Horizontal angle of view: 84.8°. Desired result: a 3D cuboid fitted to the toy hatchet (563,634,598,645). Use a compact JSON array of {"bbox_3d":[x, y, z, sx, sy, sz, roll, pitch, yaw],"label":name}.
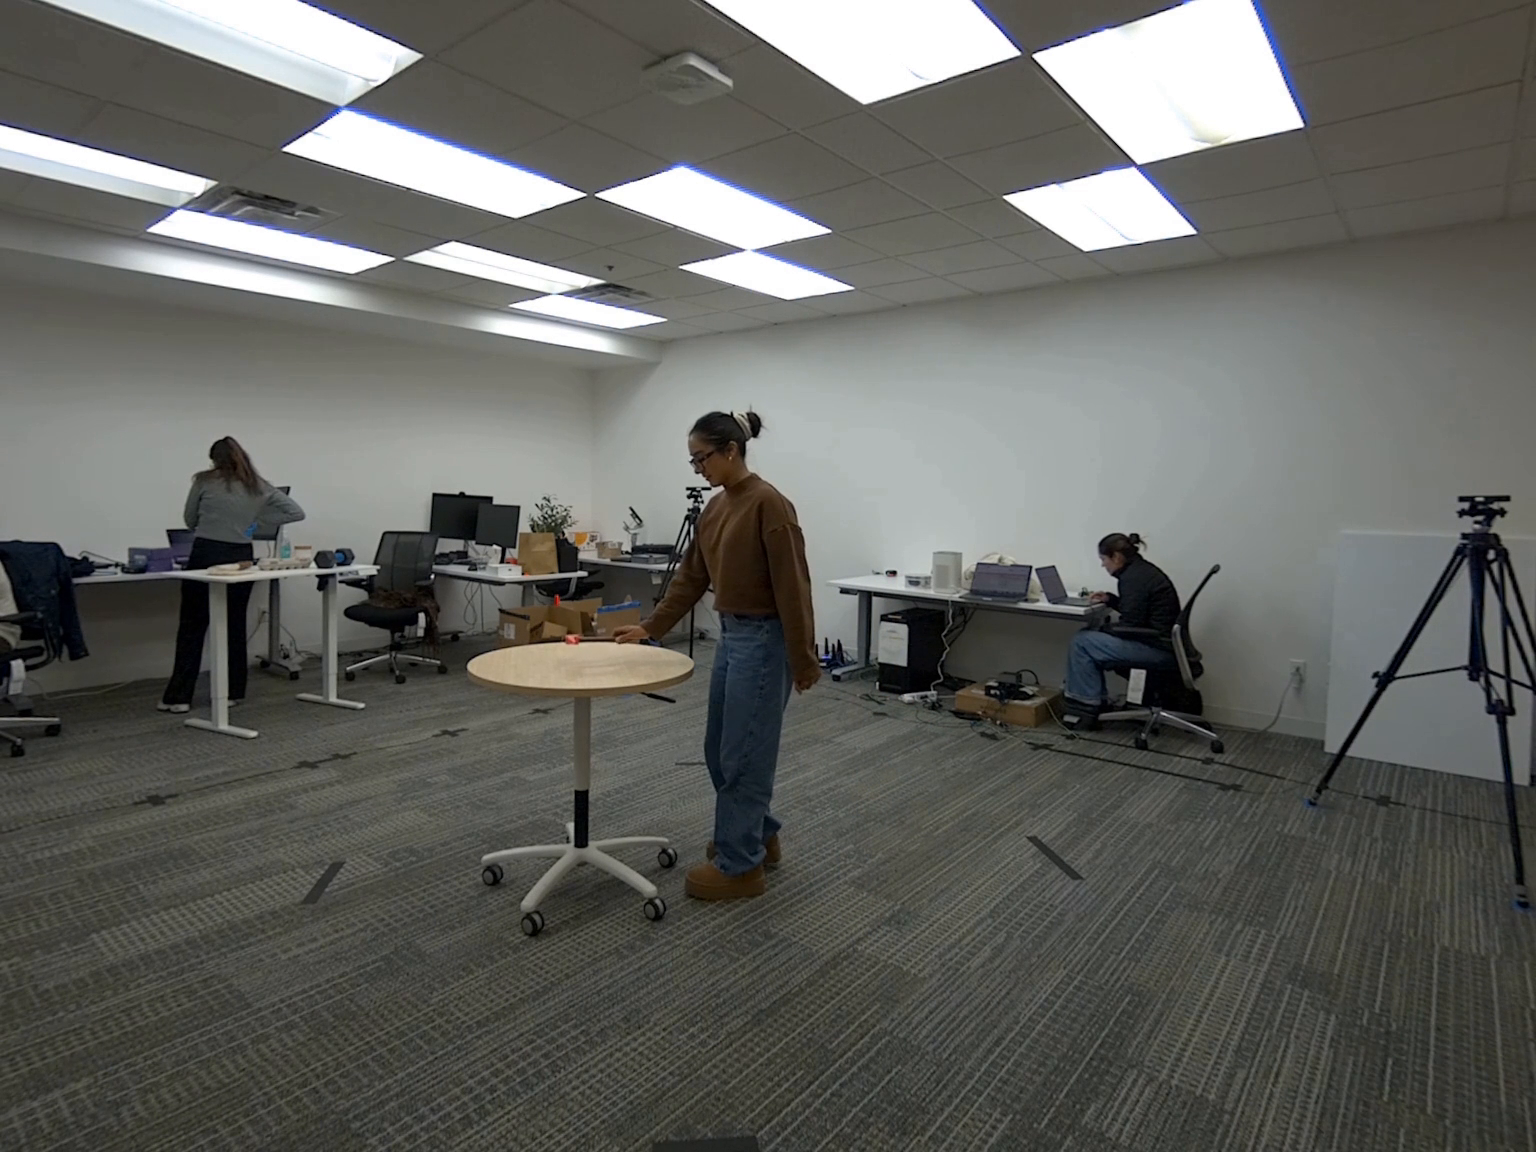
[{"bbox_3d":[-0.576,0.214,2.916,0.269,0.029,0.132,1,2,-5],"label":"toy hatchet"}]
